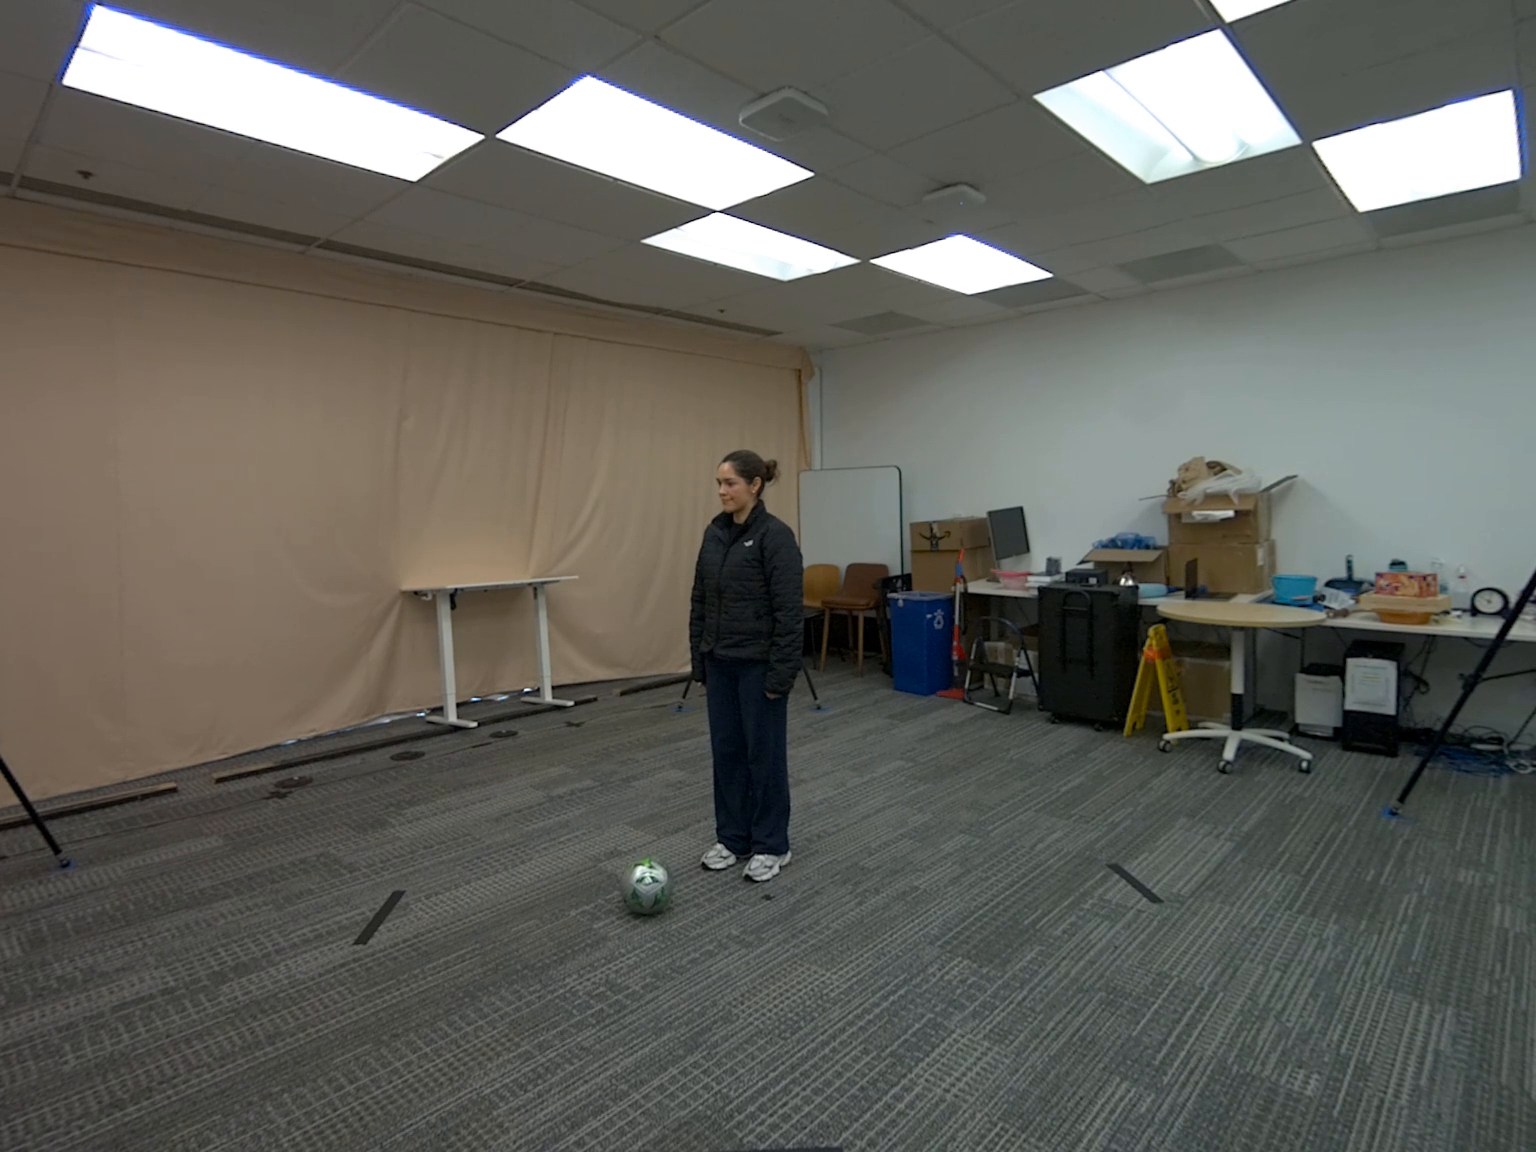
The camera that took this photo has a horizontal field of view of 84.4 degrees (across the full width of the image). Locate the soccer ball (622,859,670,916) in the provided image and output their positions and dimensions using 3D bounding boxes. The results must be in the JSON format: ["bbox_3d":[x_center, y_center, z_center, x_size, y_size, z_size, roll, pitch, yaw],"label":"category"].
[{"bbox_3d":[-0.409,1.061,2.889,0.187,0.187,0.188,-1,4,-2],"label":"soccer ball"}]
